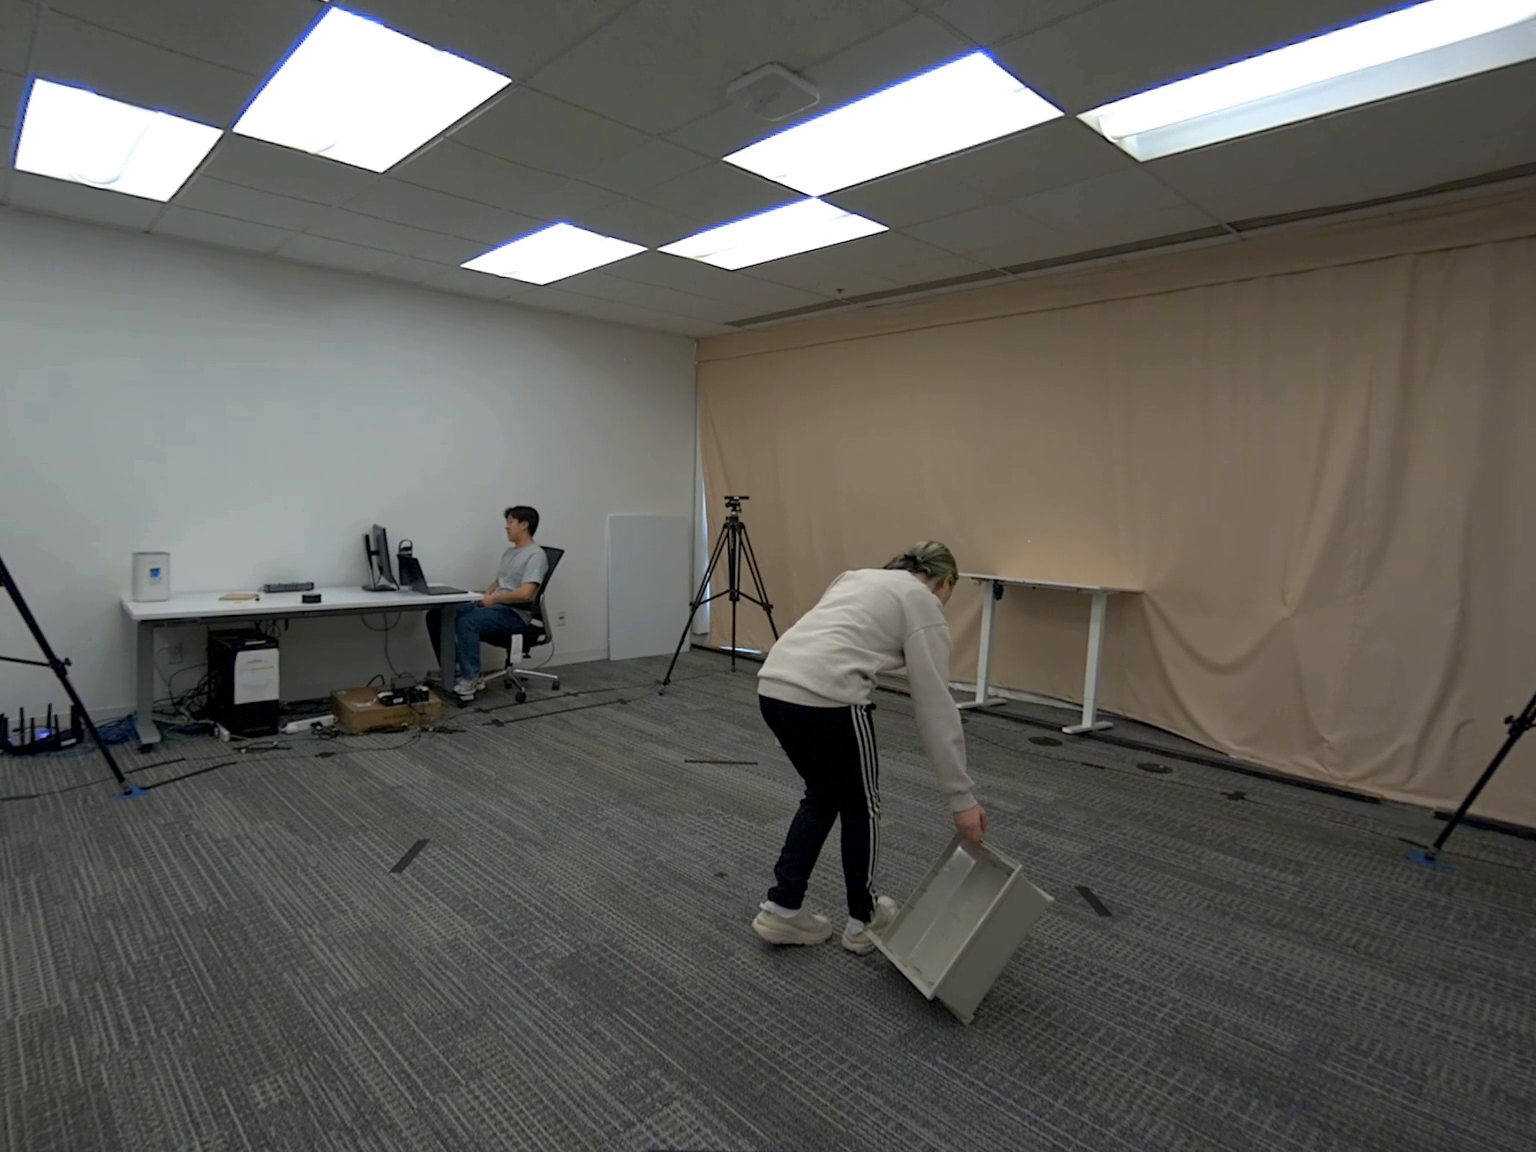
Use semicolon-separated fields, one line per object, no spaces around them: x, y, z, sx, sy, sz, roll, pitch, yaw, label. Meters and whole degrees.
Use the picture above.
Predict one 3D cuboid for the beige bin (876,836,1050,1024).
0.536;0.974;2.404;0.185;0.422;0.384;44;-11;-20;beige bin
